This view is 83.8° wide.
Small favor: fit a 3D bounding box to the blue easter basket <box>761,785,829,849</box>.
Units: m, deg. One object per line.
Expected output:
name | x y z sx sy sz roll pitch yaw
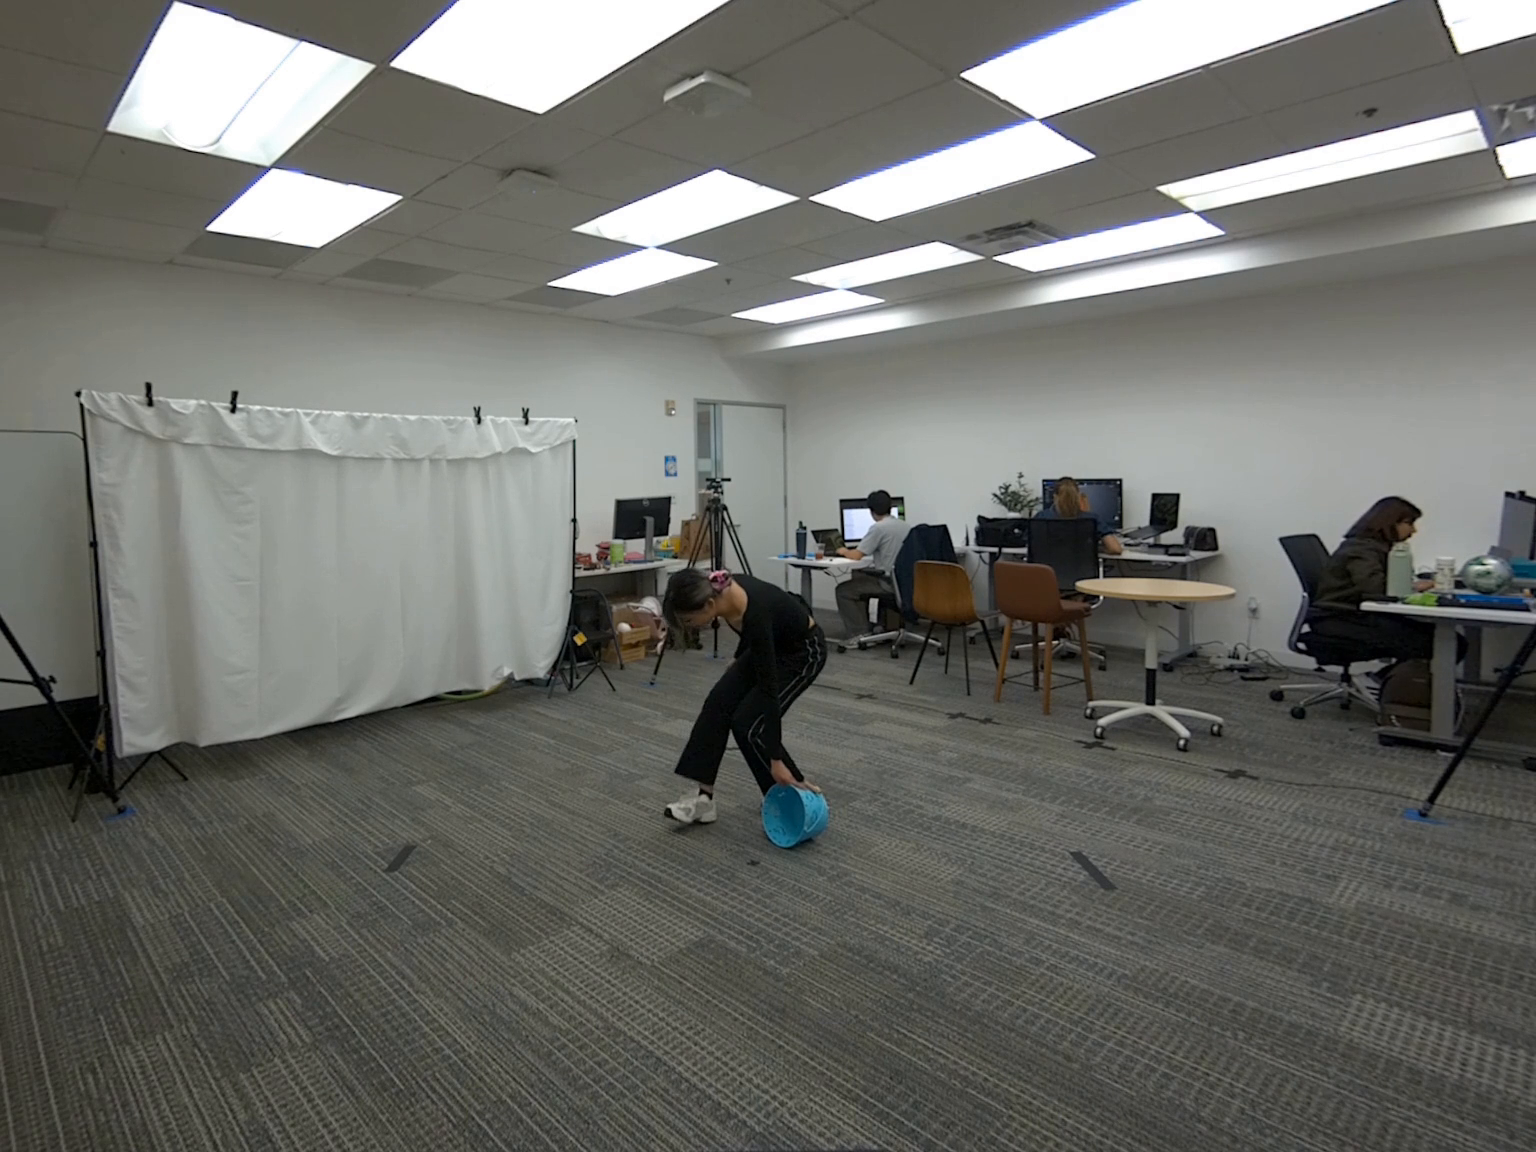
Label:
blue easter basket | 0.112 0.912 3.281 0.151 0.244 0.251 10 -4 -42
